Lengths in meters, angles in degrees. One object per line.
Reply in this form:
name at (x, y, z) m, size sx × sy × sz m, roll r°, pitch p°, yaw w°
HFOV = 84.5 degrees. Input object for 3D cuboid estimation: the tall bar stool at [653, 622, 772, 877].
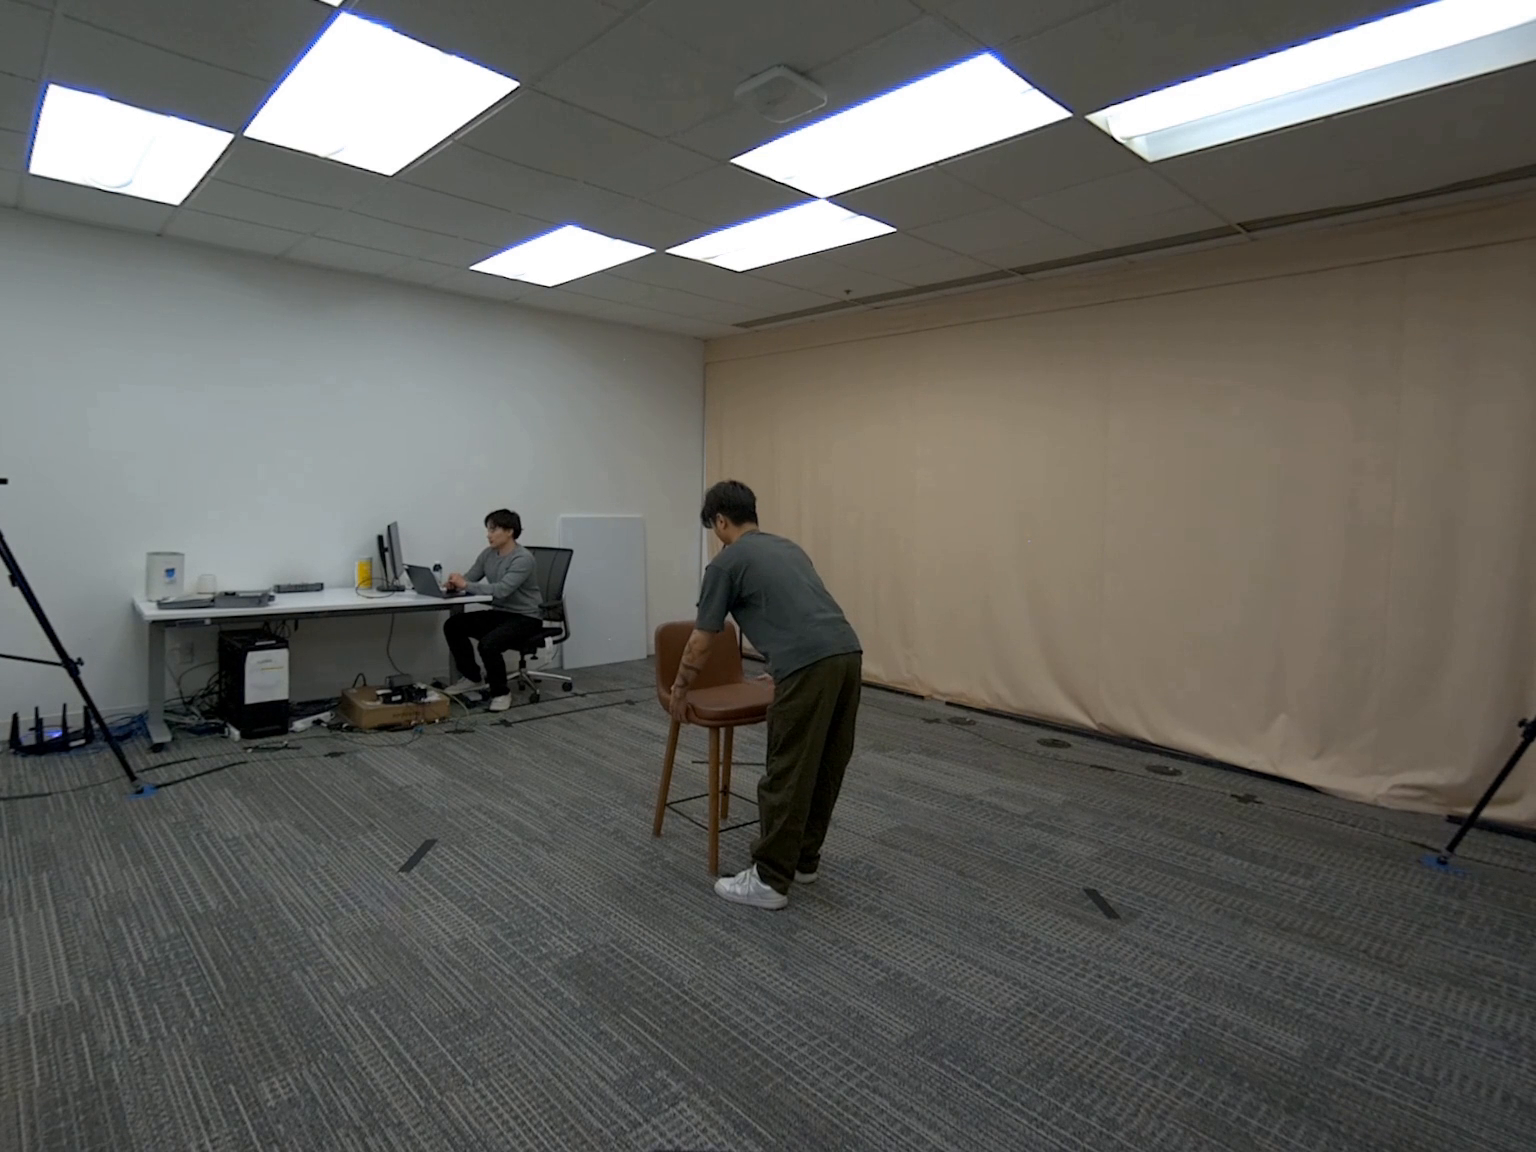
tall bar stool at (-0.188, 0.642, 3.377) m, size 0.446 × 0.888 × 0.479 m, roll -1°, pitch 2°, yaw -38°
